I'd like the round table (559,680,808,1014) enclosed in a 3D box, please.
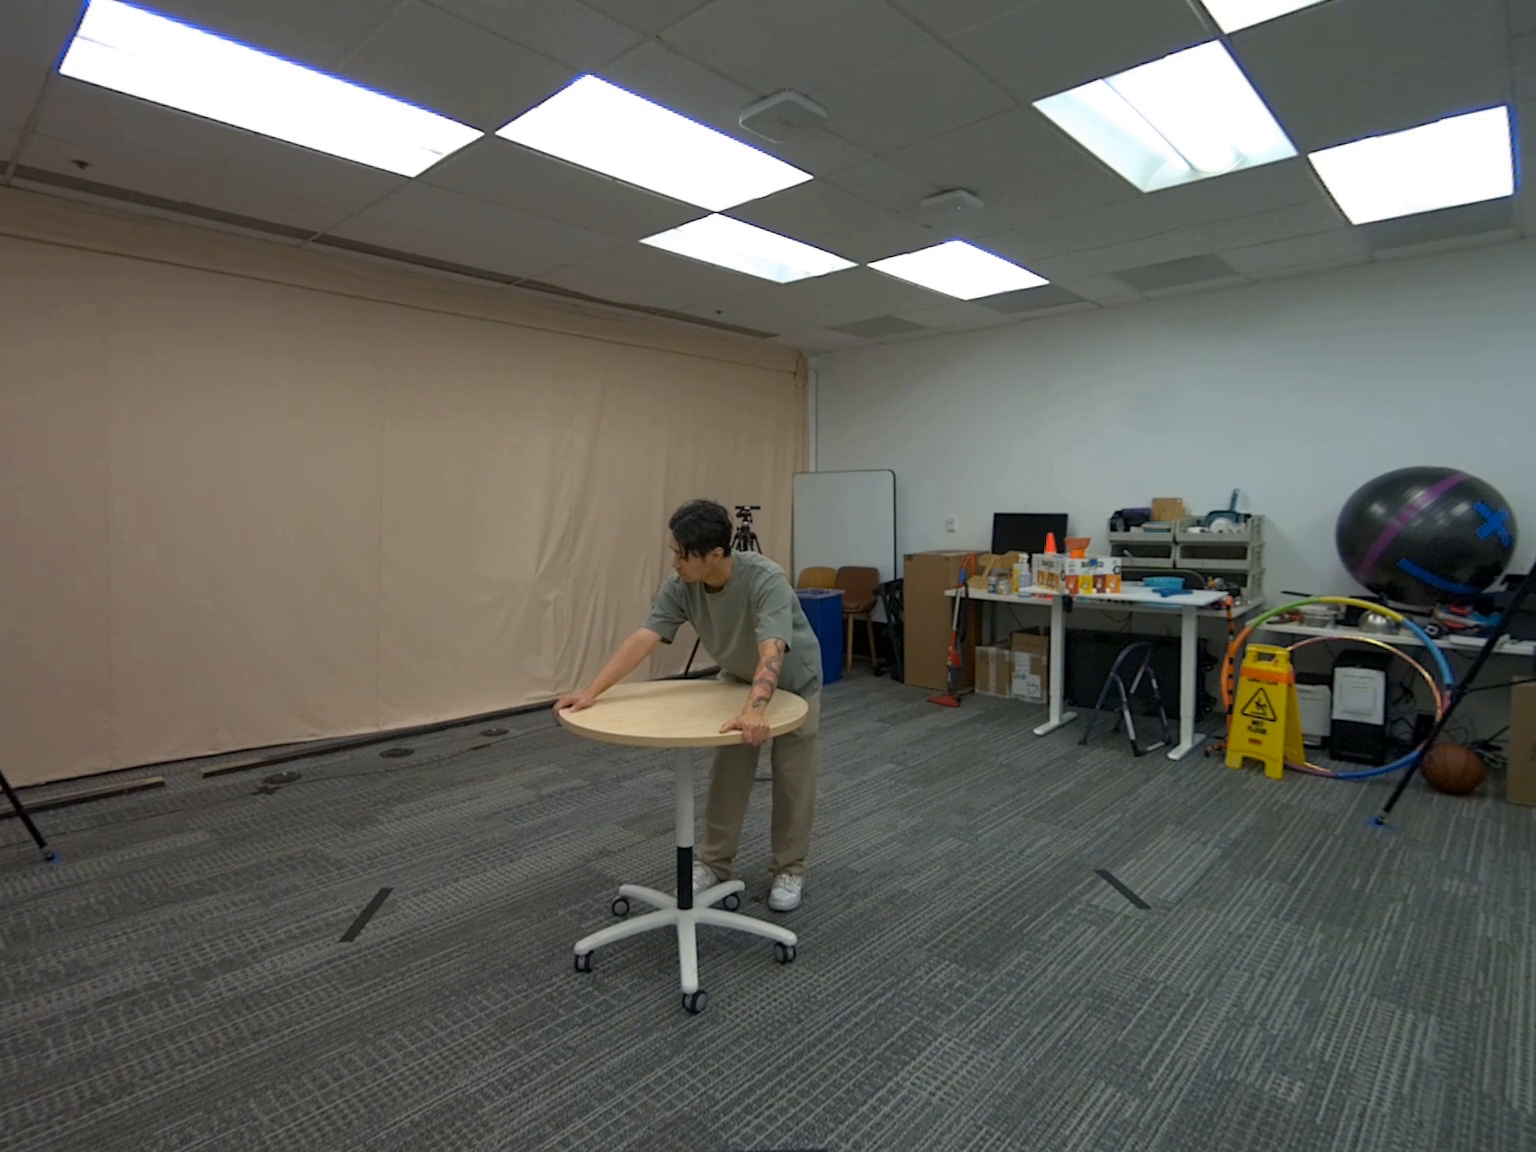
[{"bbox_3d":[-0.251,0.787,2.608,0.784,0.785,0.788,0,4,-2],"label":"round table"}]
